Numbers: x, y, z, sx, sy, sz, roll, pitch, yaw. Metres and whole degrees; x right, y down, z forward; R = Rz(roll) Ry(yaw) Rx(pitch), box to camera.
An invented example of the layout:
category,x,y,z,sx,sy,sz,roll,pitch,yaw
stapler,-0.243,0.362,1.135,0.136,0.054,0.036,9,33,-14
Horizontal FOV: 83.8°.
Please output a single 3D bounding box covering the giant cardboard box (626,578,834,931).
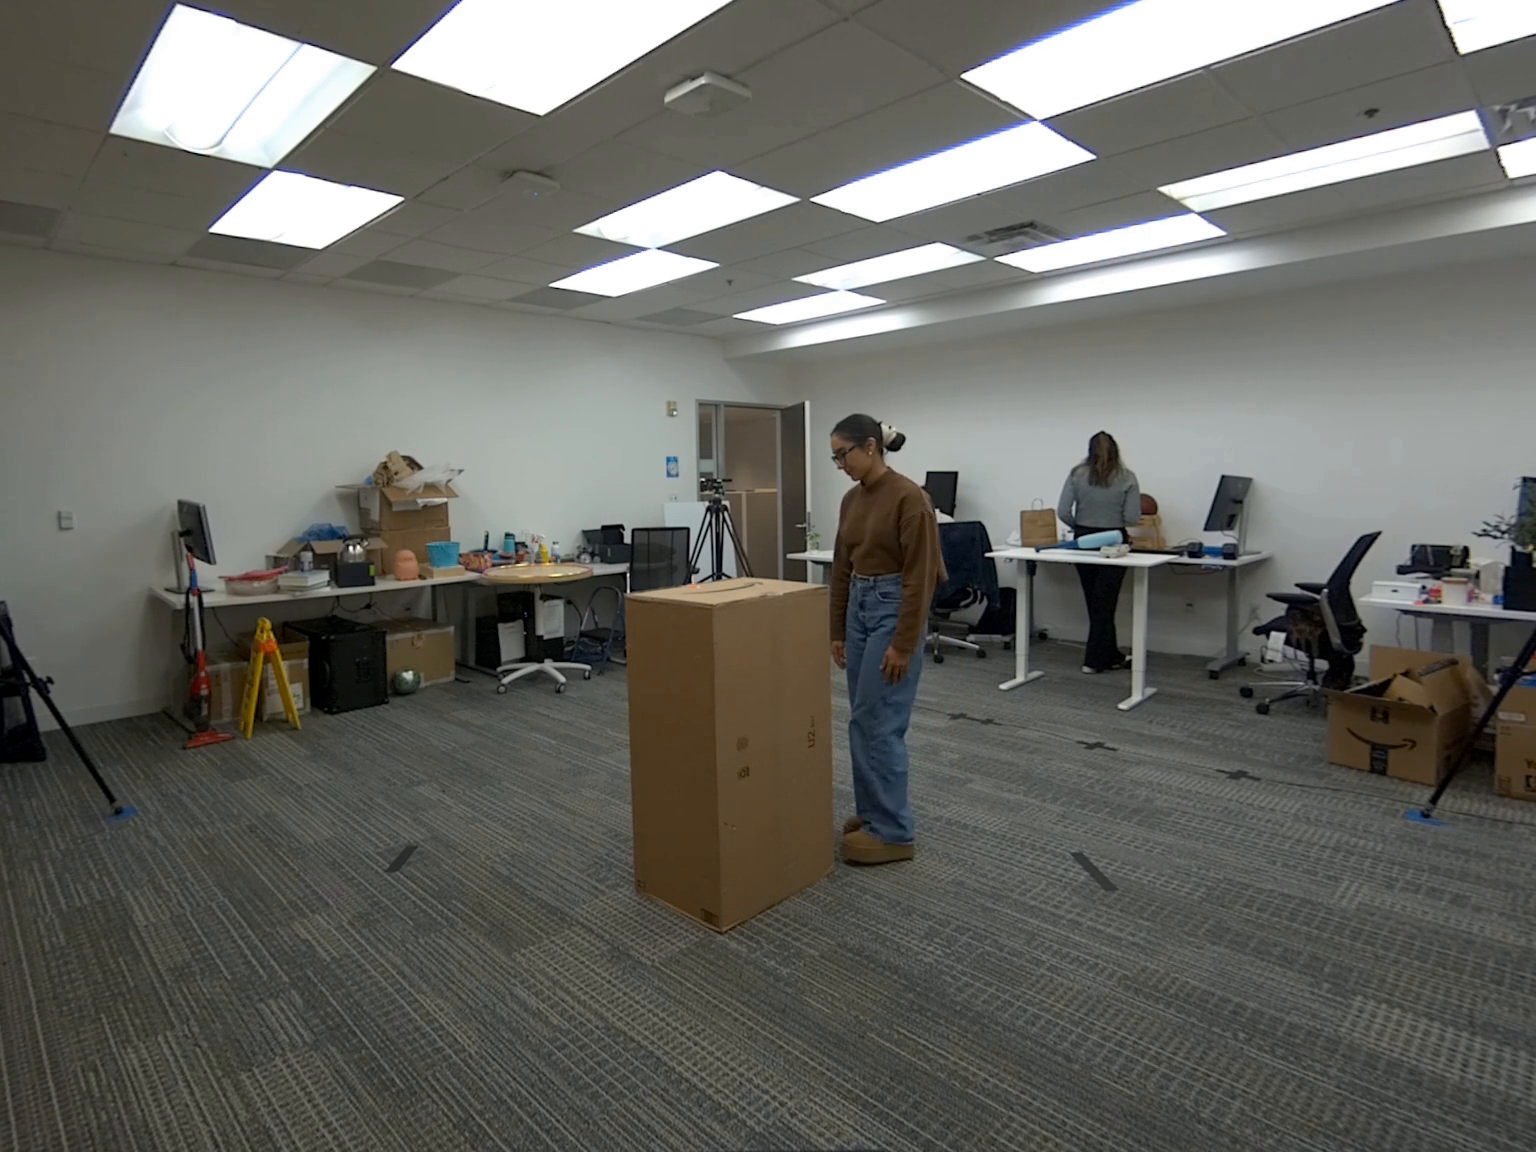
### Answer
category,x,y,z,sx,sy,sz,roll,pitch,yaw
giant cardboard box,-0.124,0.557,2.940,0.460,1.023,0.569,3,6,42
